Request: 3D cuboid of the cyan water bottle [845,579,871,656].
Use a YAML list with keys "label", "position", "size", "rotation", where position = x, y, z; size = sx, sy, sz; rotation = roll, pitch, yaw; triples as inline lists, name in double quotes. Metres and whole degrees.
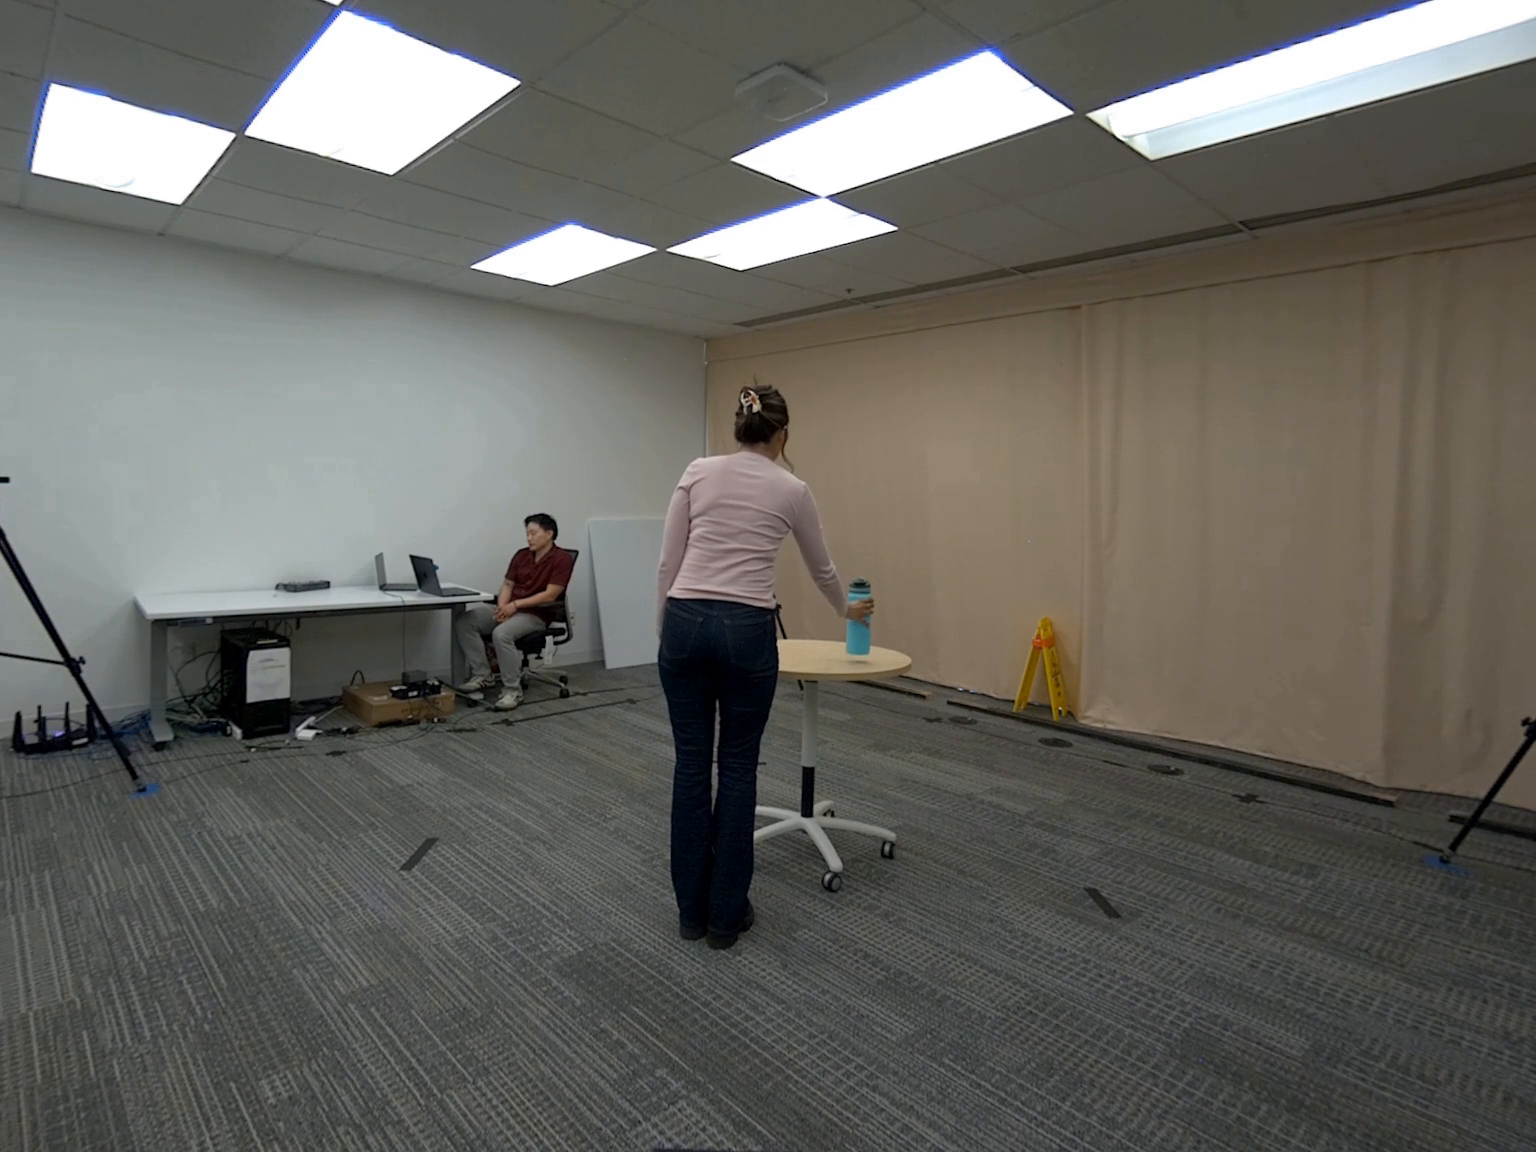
- label: "cyan water bottle"
  position: [0.336, 0.146, 3.153]
  size: [0.092, 0.283, 0.092]
  rotation: [0, 2, -1]
